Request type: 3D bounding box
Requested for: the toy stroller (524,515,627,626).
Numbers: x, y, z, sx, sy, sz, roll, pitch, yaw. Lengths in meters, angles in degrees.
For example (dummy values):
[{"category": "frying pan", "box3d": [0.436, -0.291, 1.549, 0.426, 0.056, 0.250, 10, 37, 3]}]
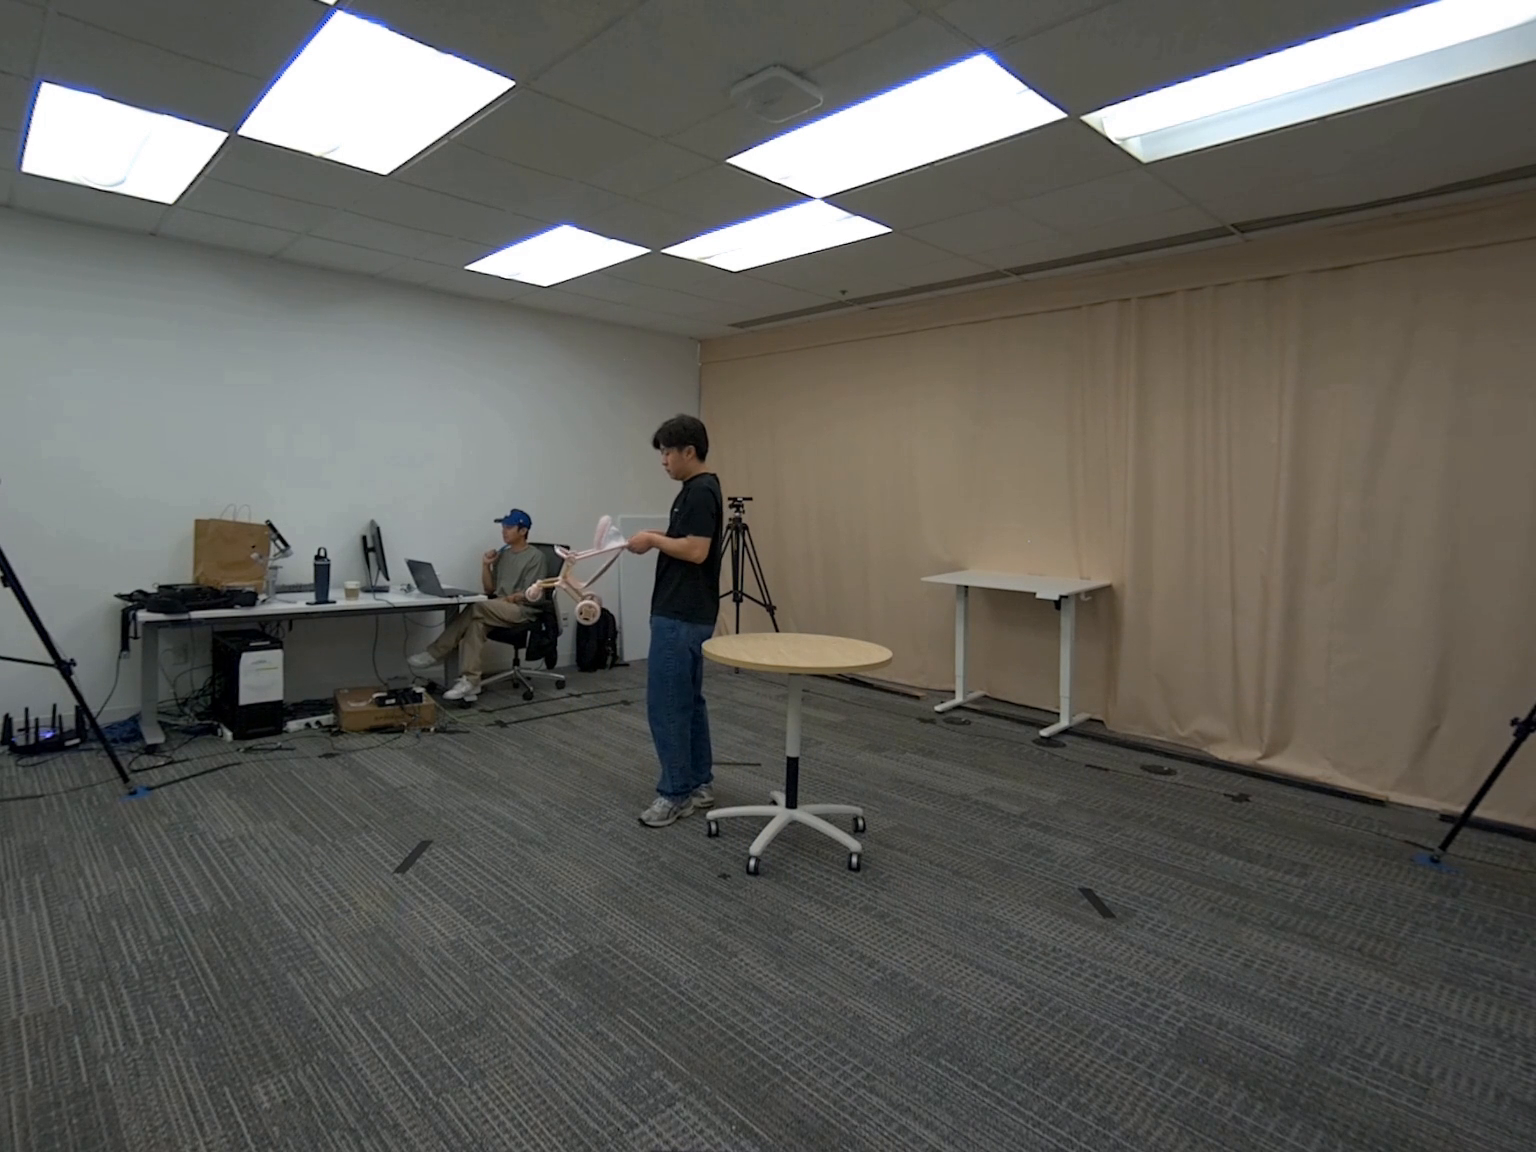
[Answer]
[{"category": "toy stroller", "box3d": [-0.810, -0.042, 3.755, 0.339, 0.535, 0.283, 33, 1, -6]}]
